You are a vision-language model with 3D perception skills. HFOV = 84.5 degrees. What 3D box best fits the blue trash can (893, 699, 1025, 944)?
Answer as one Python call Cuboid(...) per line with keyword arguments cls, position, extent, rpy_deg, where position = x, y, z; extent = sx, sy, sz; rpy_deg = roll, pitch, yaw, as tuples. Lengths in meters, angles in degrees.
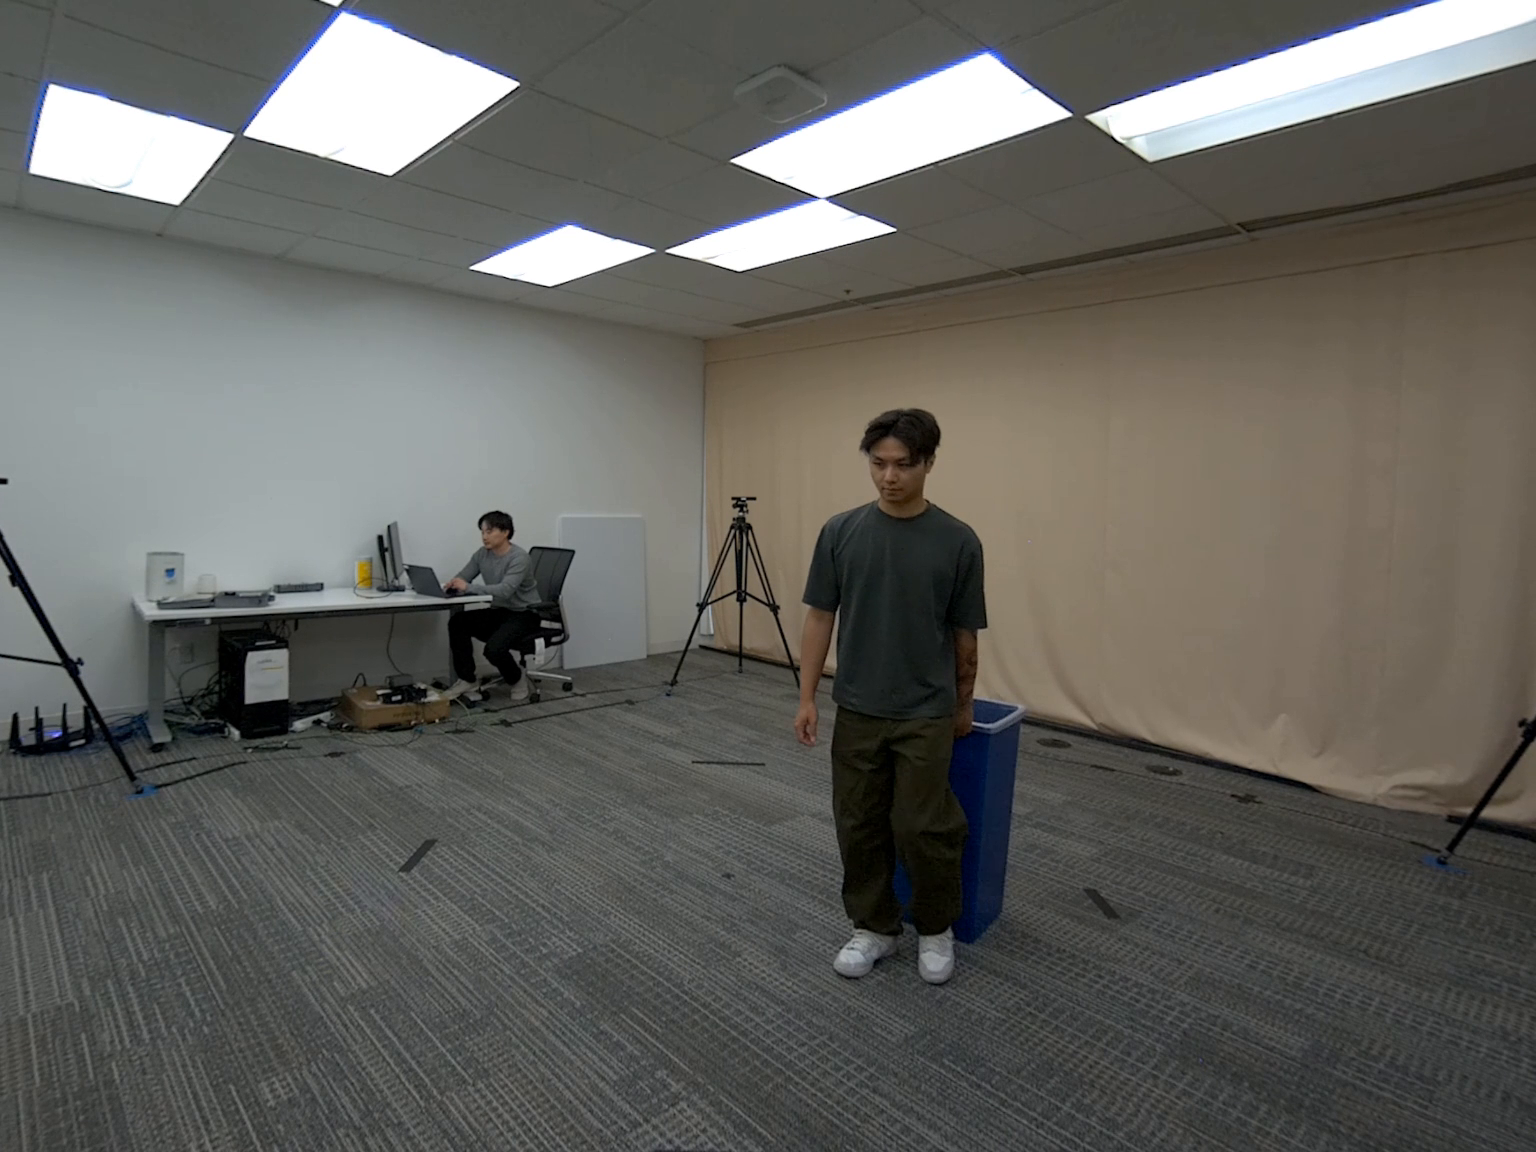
Cuboid(cls="blue trash can", position=(0.623, 0.789, 2.843), extent=(0.383, 0.712, 0.370), rpy_deg=(3, 4, 34))
